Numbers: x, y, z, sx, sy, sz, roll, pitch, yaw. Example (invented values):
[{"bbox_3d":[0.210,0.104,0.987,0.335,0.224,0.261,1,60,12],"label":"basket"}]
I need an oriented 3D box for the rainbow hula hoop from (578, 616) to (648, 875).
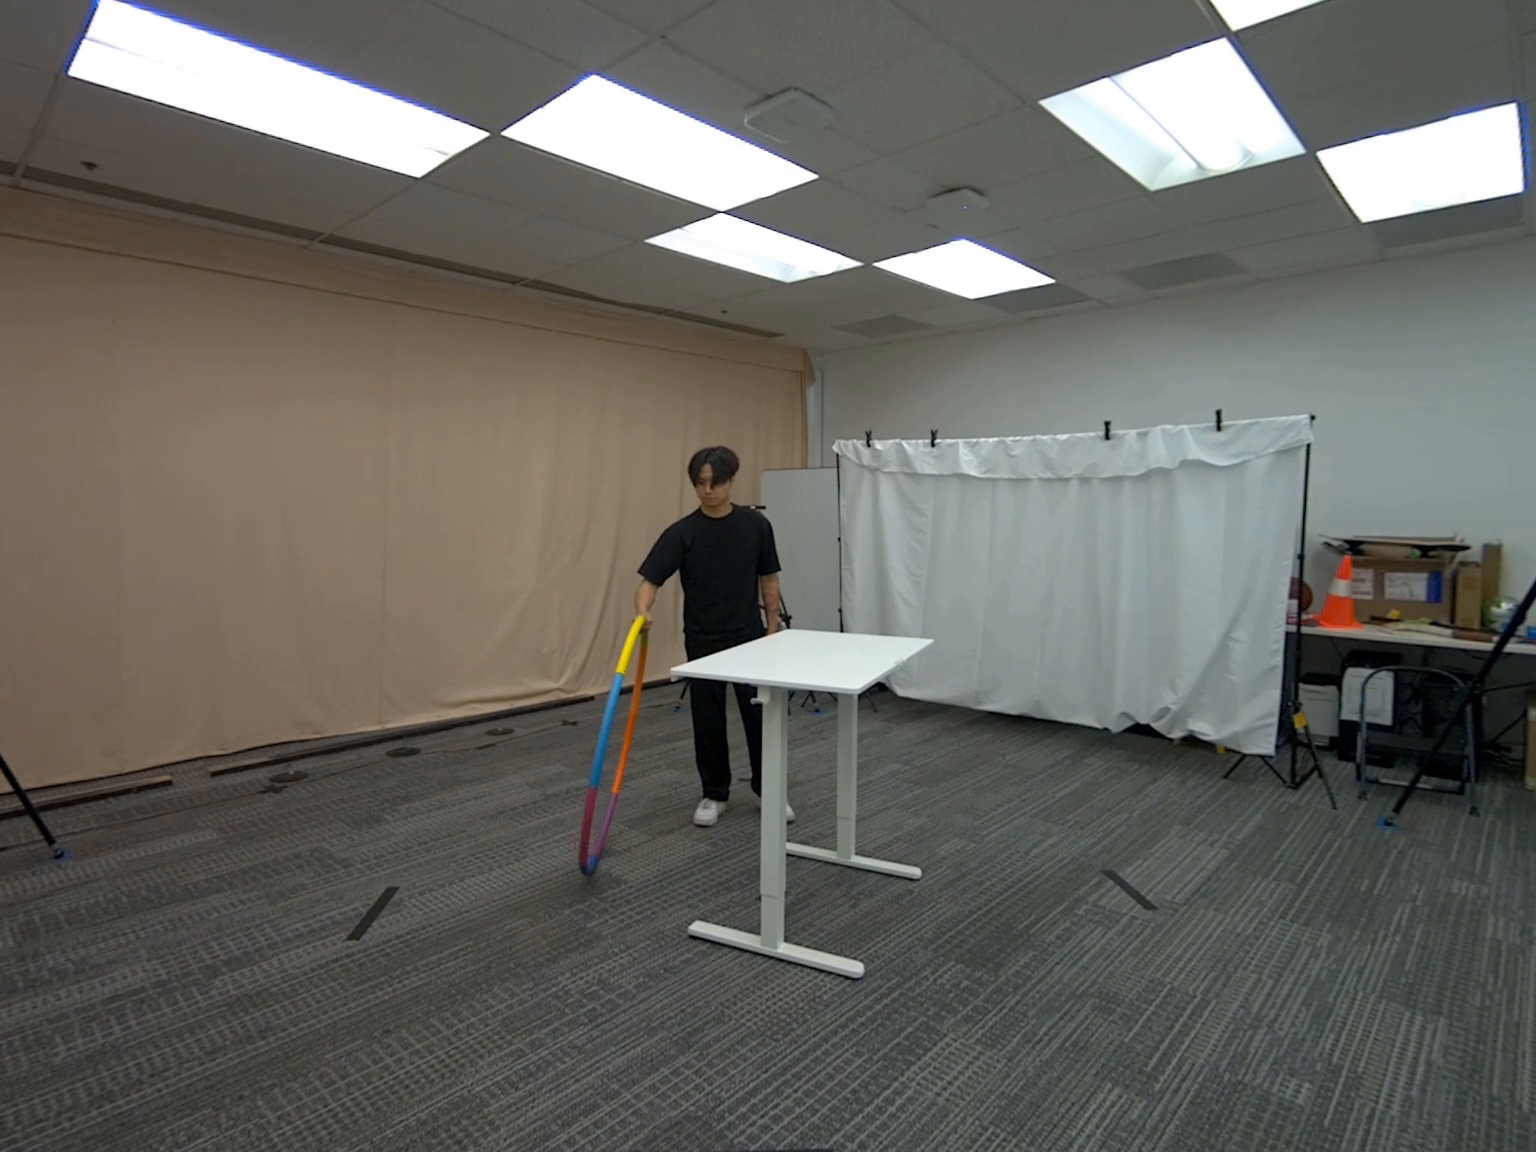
[{"bbox_3d":[-0.580,0.647,3.247,0.035,0.977,0.979,12,4,-2],"label":"rainbow hula hoop"}]
